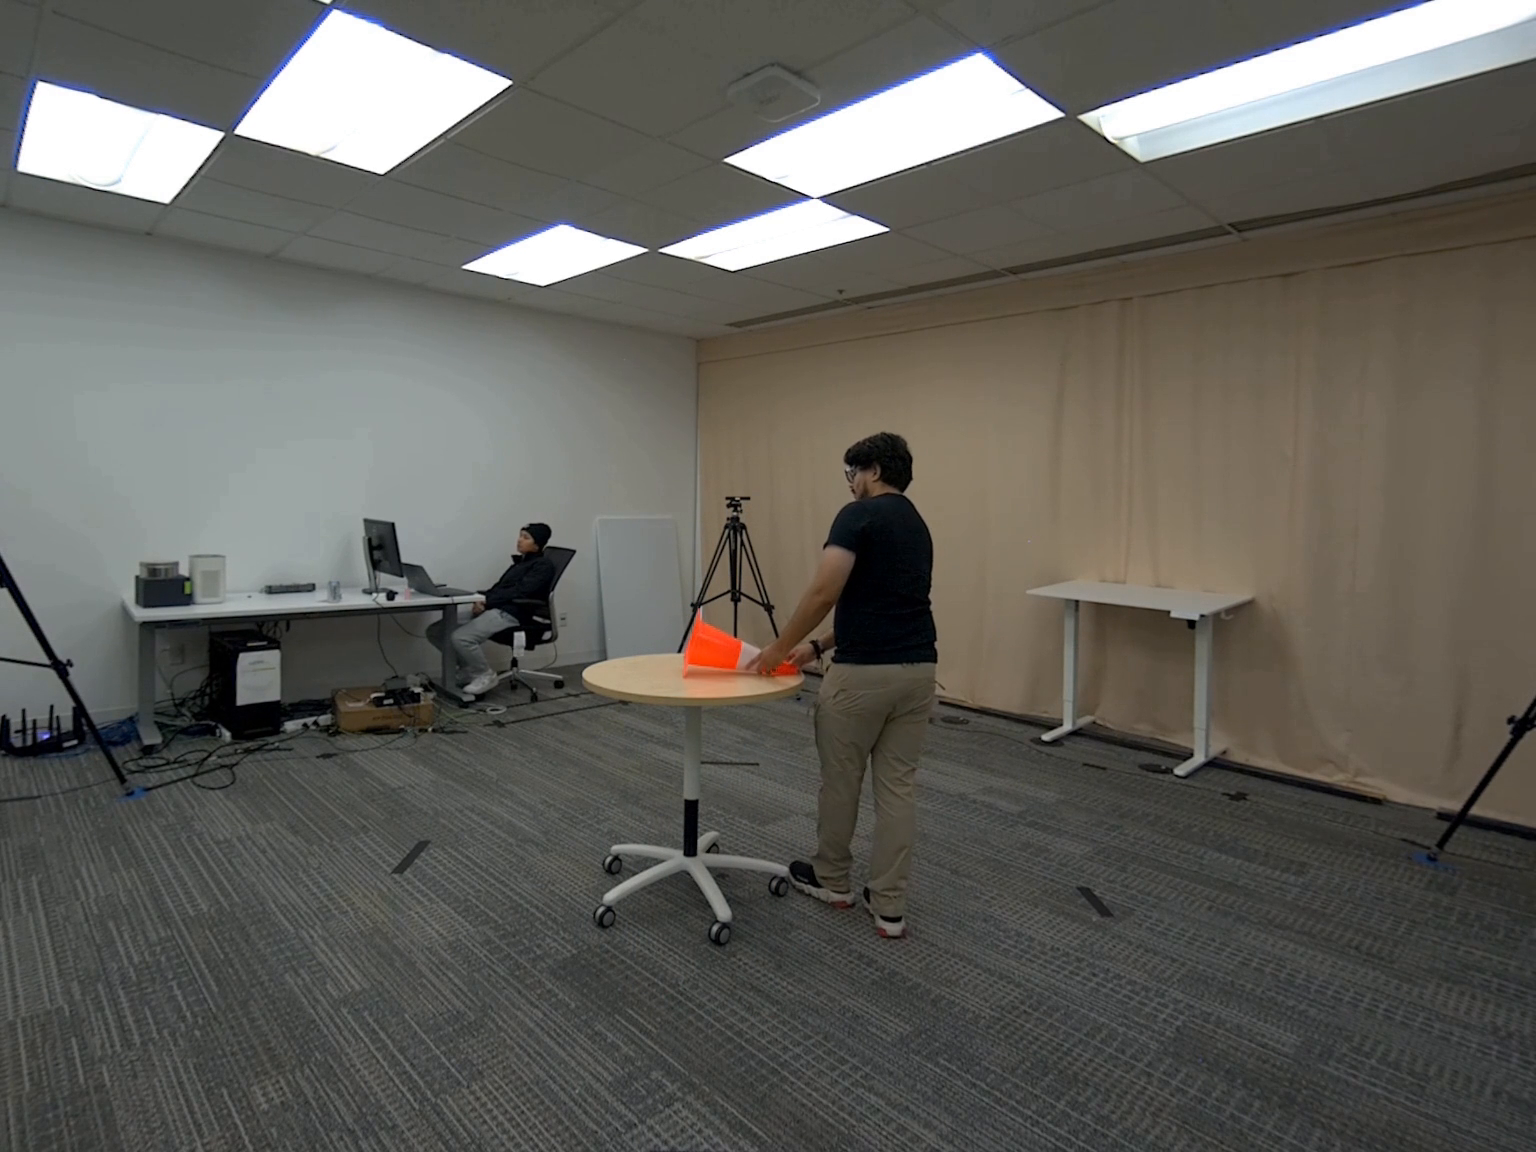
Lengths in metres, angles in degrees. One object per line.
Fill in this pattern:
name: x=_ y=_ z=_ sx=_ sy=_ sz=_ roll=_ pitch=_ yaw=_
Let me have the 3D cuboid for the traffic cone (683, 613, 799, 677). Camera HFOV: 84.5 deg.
traffic cone: x=-0.084 y=0.276 z=2.916 sx=0.385 sy=0.203 sz=0.205 roll=13 pitch=20 yaw=3
